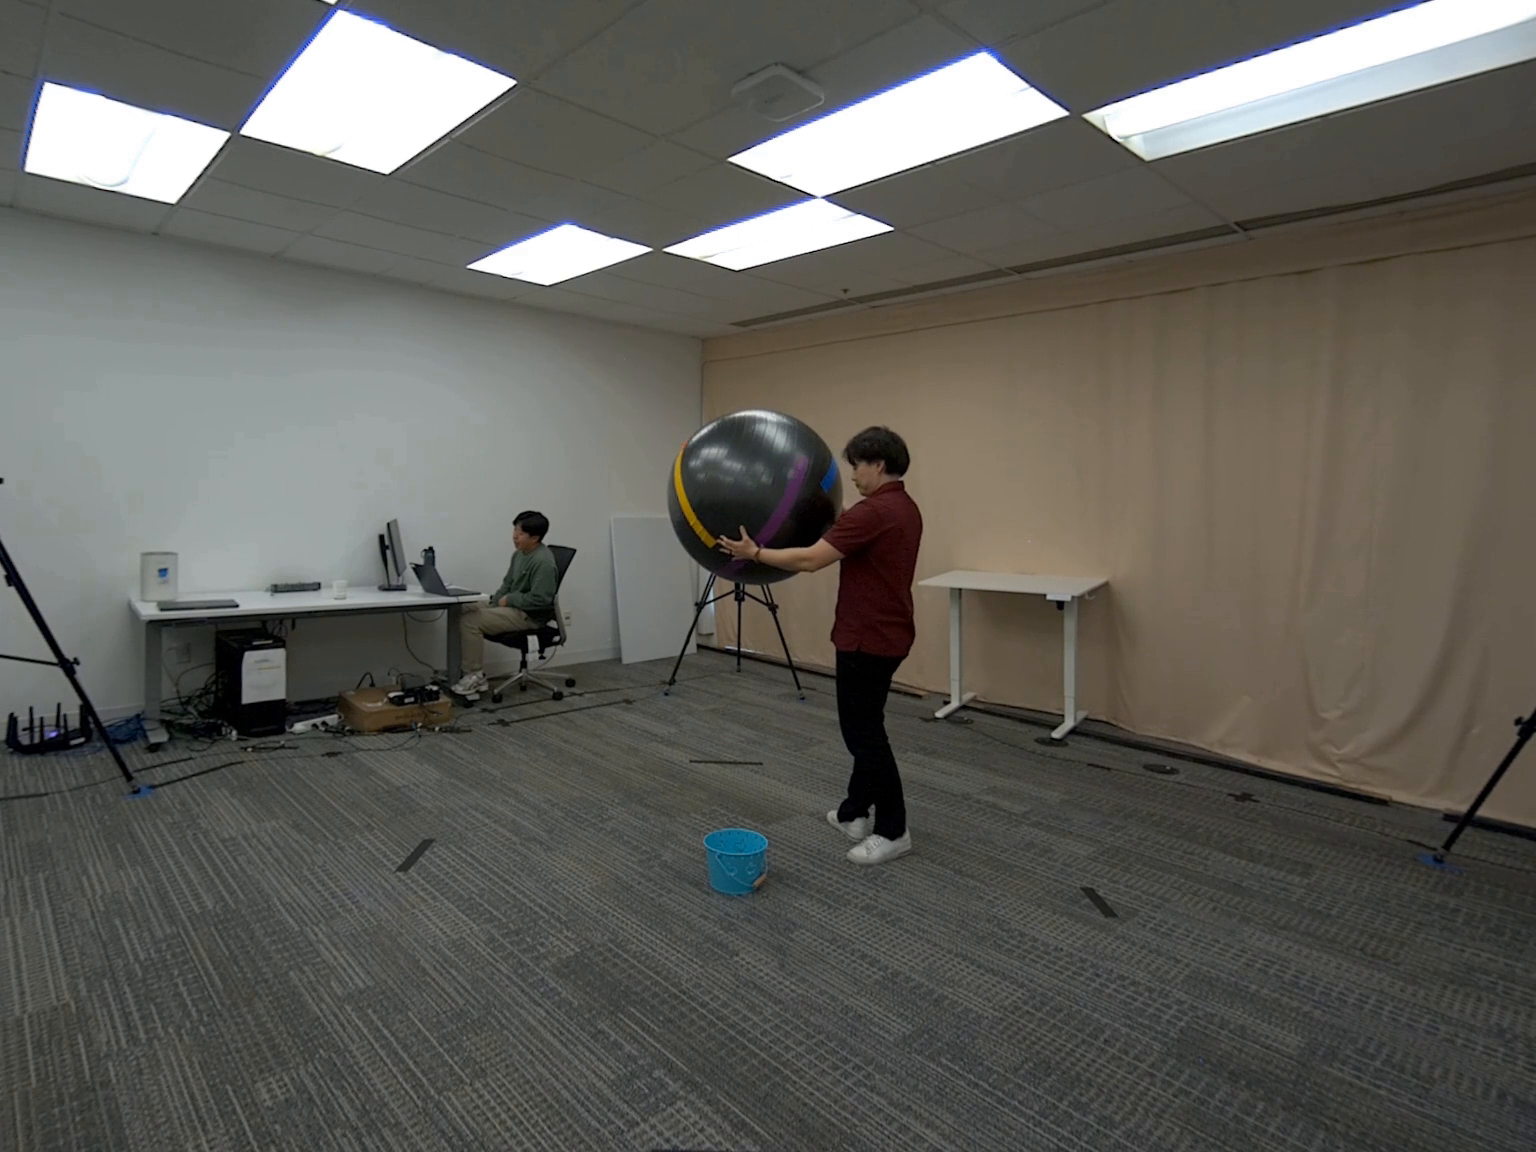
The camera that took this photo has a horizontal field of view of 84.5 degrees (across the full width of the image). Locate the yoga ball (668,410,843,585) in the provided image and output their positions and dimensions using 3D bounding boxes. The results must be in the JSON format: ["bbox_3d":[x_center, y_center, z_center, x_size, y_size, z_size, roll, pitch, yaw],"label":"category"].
[{"bbox_3d":[-0.066,-0.342,3.655,0.757,0.756,0.761,1,4,-1],"label":"yoga ball"}]
